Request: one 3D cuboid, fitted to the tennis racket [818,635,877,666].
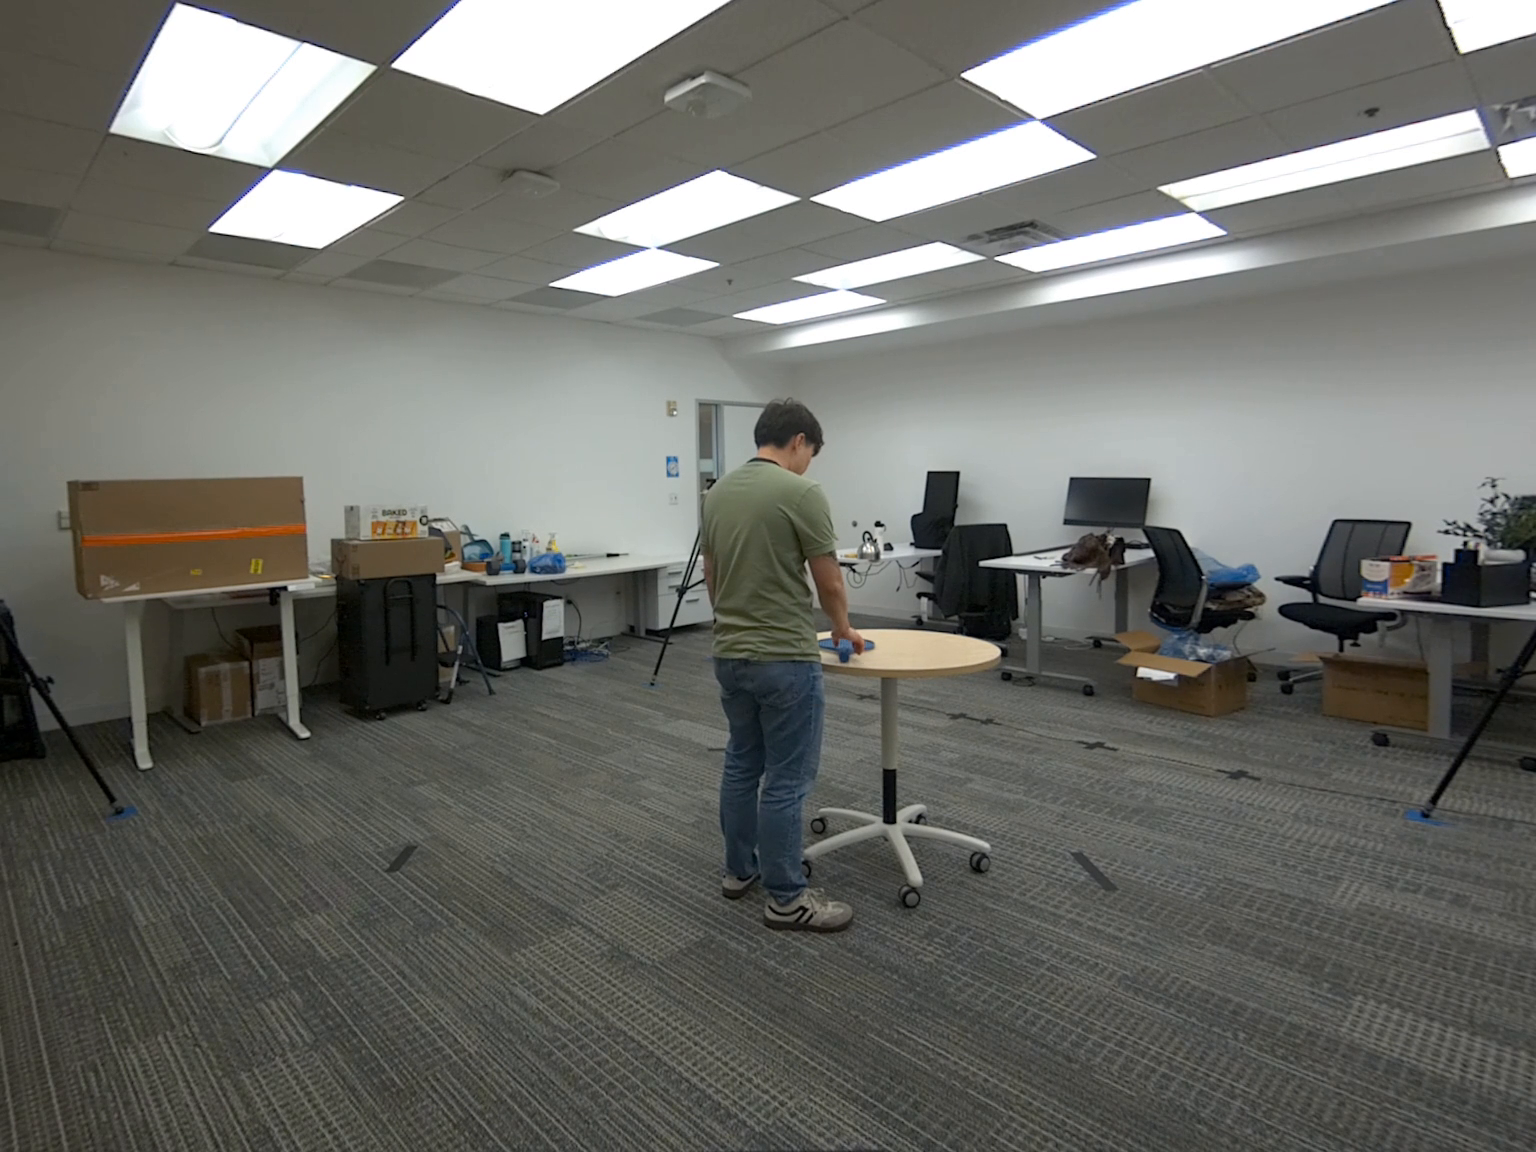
[{"bbox_3d":[0.268,0.254,3.007,0.216,0.032,0.430,1,4,8],"label":"tennis racket"}]
